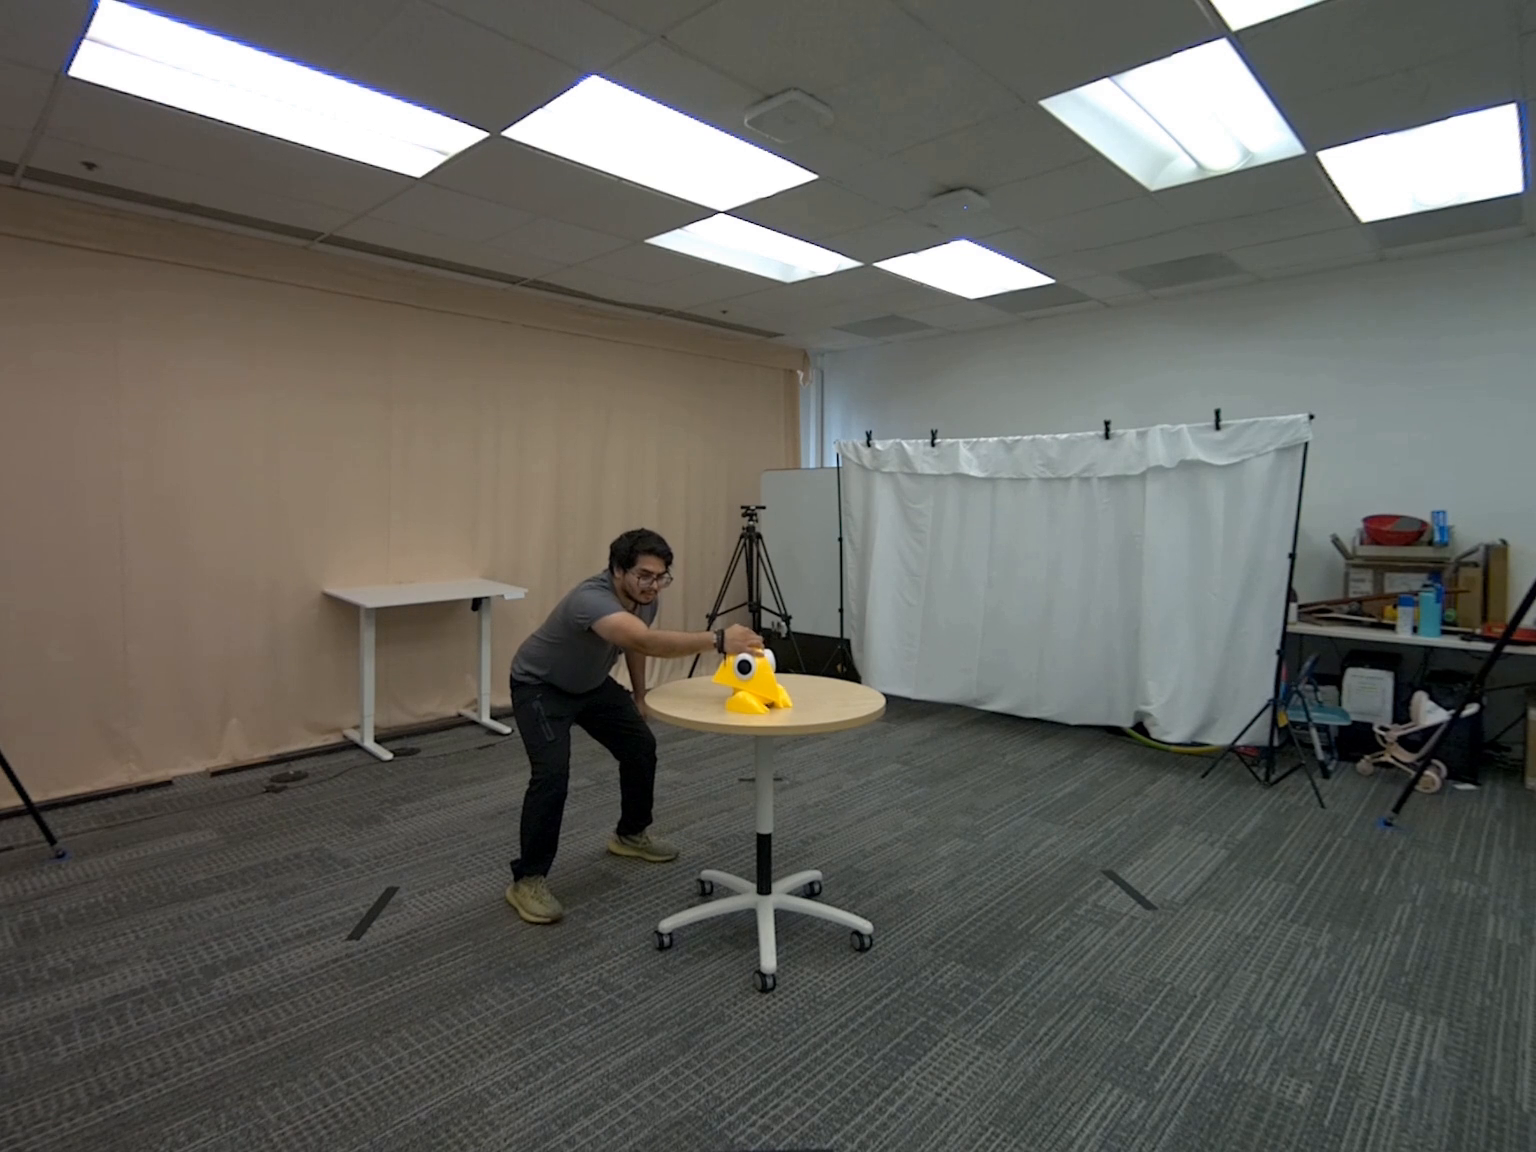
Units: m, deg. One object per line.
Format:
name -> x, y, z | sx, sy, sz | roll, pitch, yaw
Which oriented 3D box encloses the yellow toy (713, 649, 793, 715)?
yellow toy -> -0.034, 0.283, 2.560 | 0.199, 0.230, 0.198 | 3, 5, 42
